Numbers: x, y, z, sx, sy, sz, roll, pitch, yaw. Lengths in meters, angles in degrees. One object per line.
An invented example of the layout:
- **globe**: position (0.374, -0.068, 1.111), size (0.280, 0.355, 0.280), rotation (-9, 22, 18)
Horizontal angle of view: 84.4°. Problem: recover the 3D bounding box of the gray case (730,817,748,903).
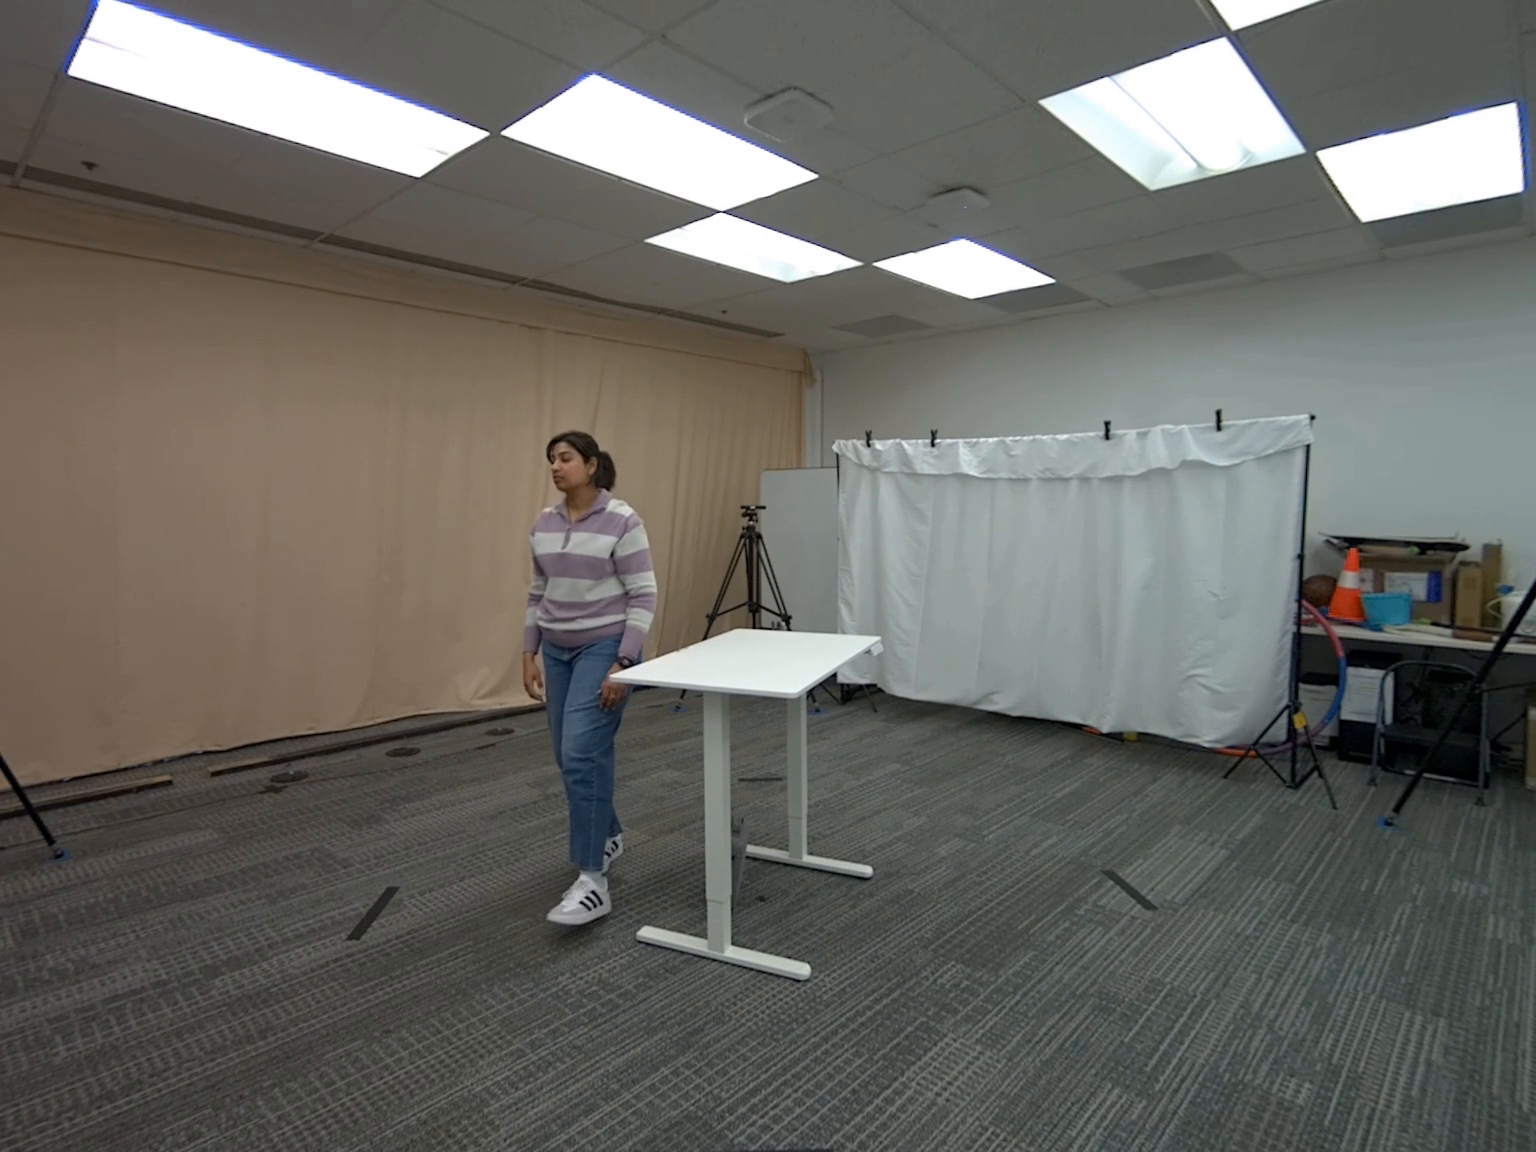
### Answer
- **gray case**: position (-0.131, 1.012, 3.005), size (0.105, 0.260, 0.256), rotation (9, 6, 3)
